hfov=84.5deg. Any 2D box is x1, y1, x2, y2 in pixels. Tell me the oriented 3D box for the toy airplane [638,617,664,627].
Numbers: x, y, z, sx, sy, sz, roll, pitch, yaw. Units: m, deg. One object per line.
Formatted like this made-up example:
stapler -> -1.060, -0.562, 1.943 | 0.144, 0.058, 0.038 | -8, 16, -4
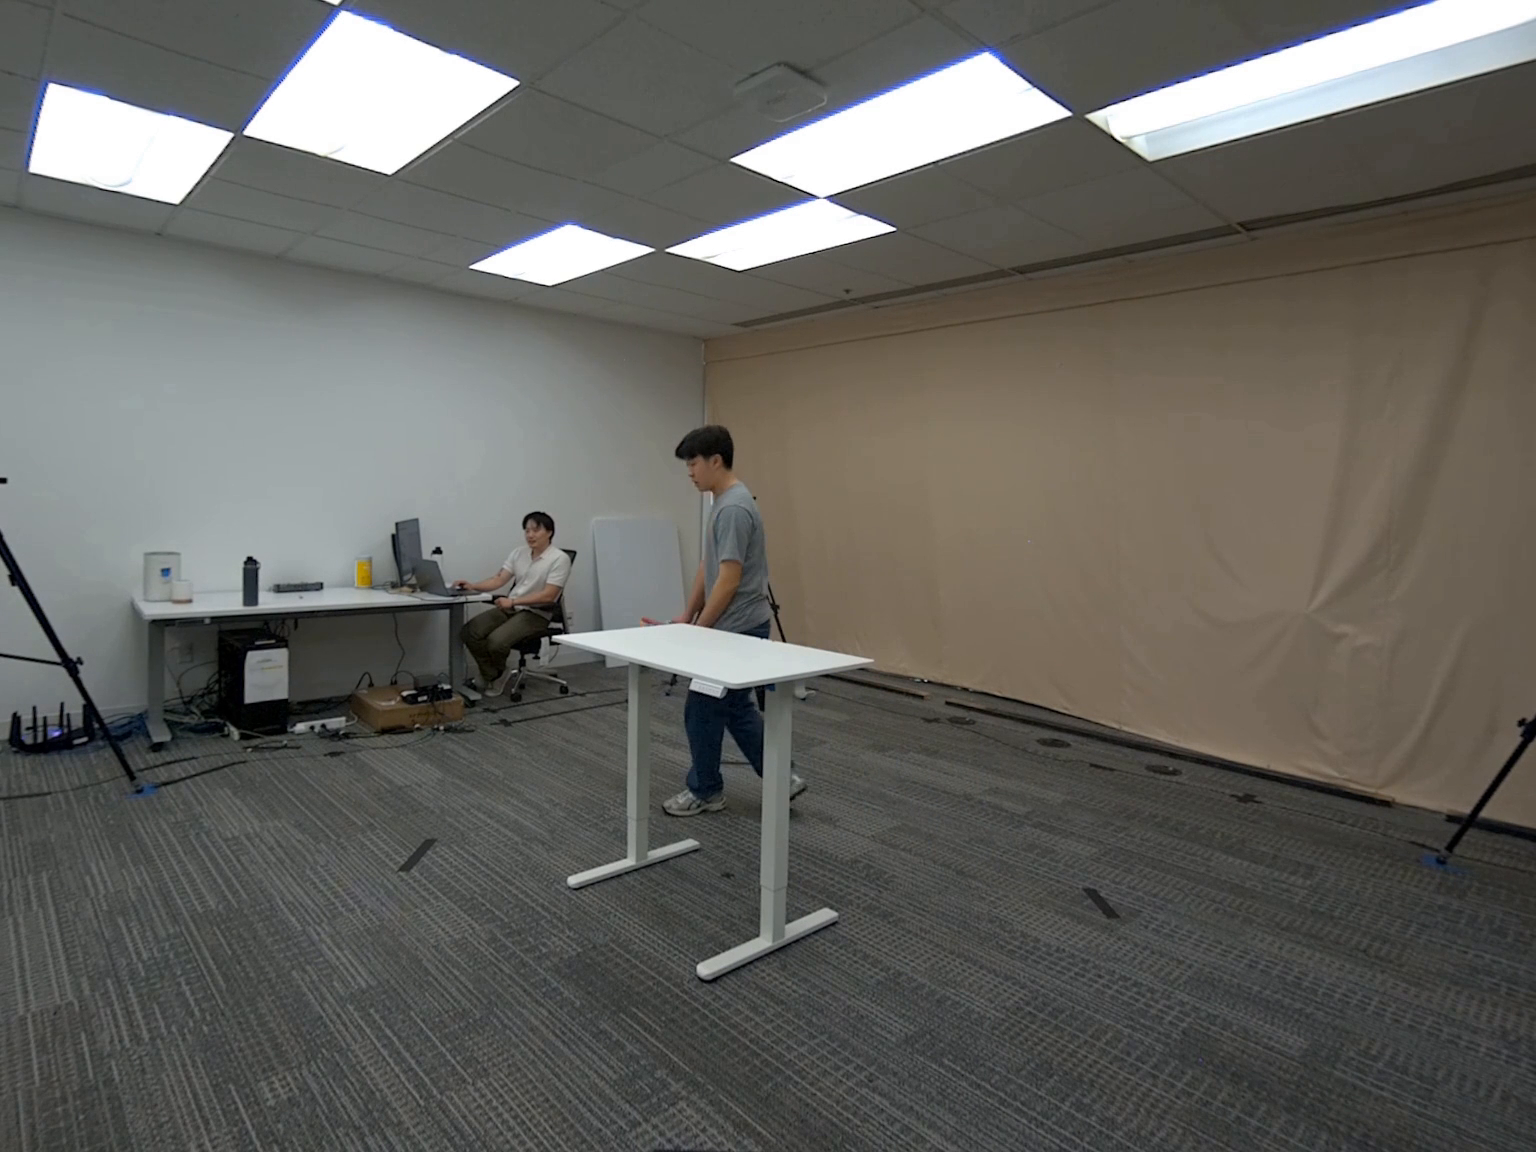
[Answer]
toy airplane -> -0.452, 0.281, 3.847 | 0.256, 0.155, 0.256 | 9, 12, 21
